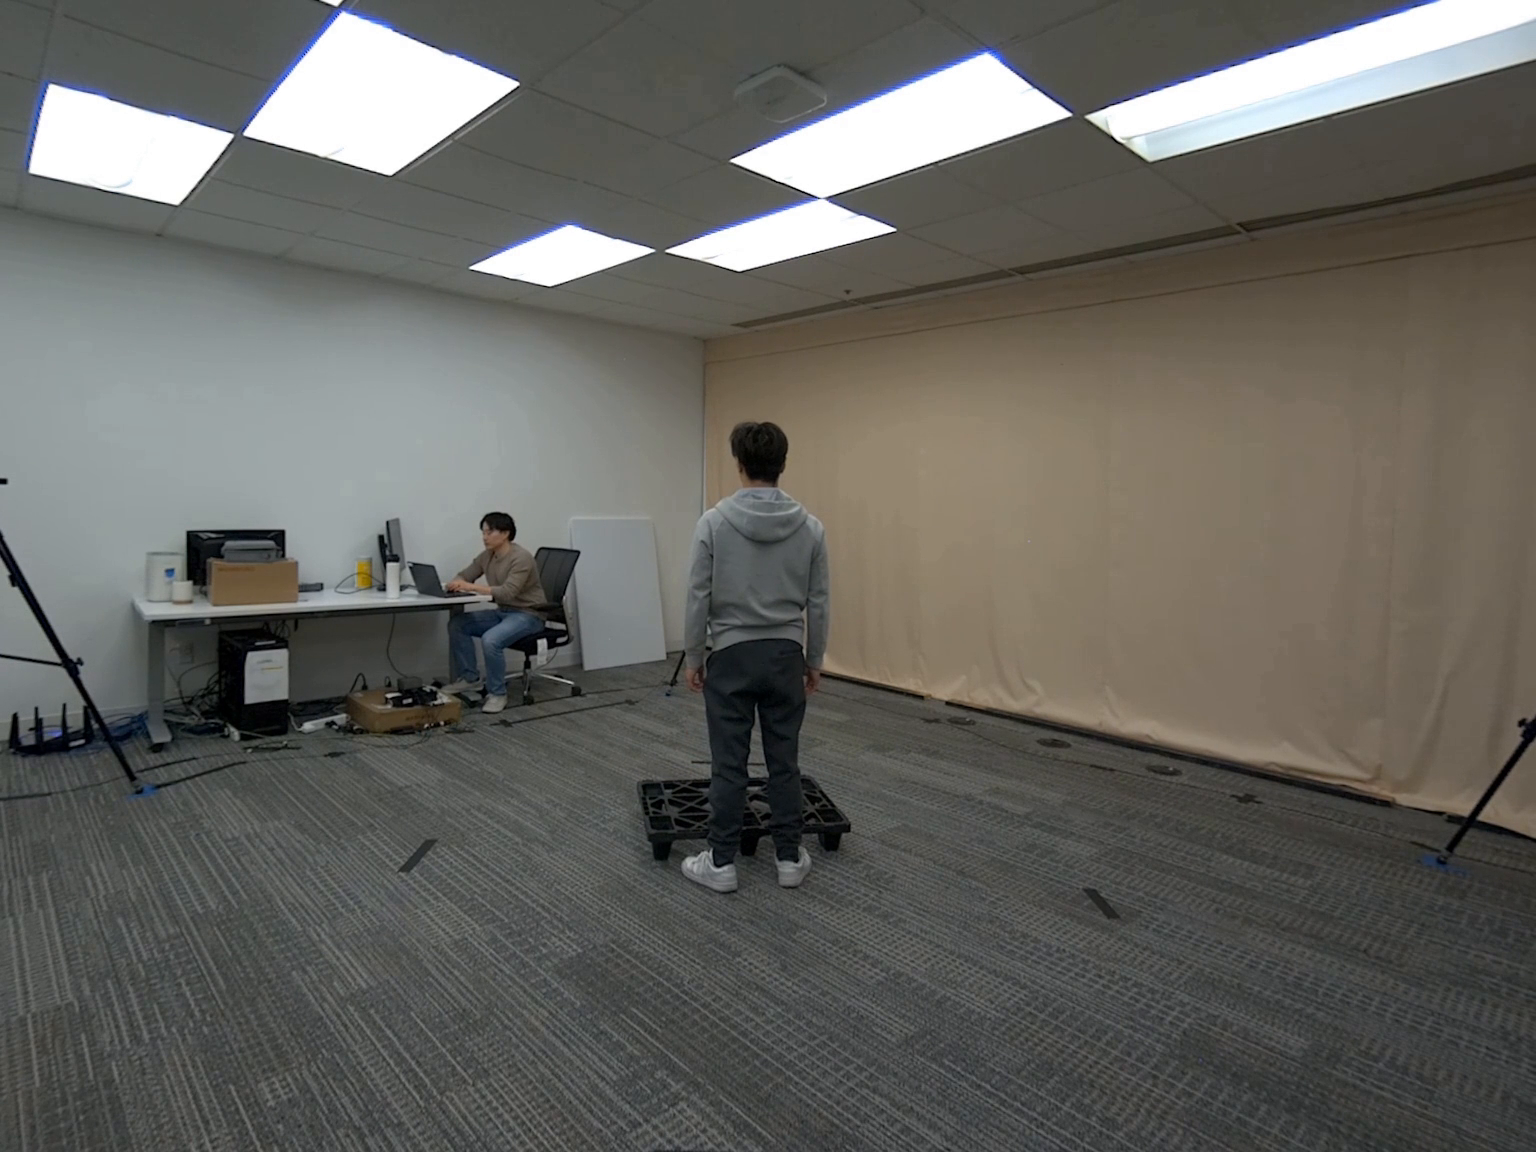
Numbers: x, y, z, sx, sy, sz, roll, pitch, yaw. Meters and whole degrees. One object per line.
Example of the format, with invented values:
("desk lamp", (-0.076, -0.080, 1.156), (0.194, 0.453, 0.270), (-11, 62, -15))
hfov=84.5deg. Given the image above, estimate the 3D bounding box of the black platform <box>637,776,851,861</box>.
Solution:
("black platform", (-0.136, 1.003, 3.517), (0.799, 0.143, 0.612), (1, 4, -11))
